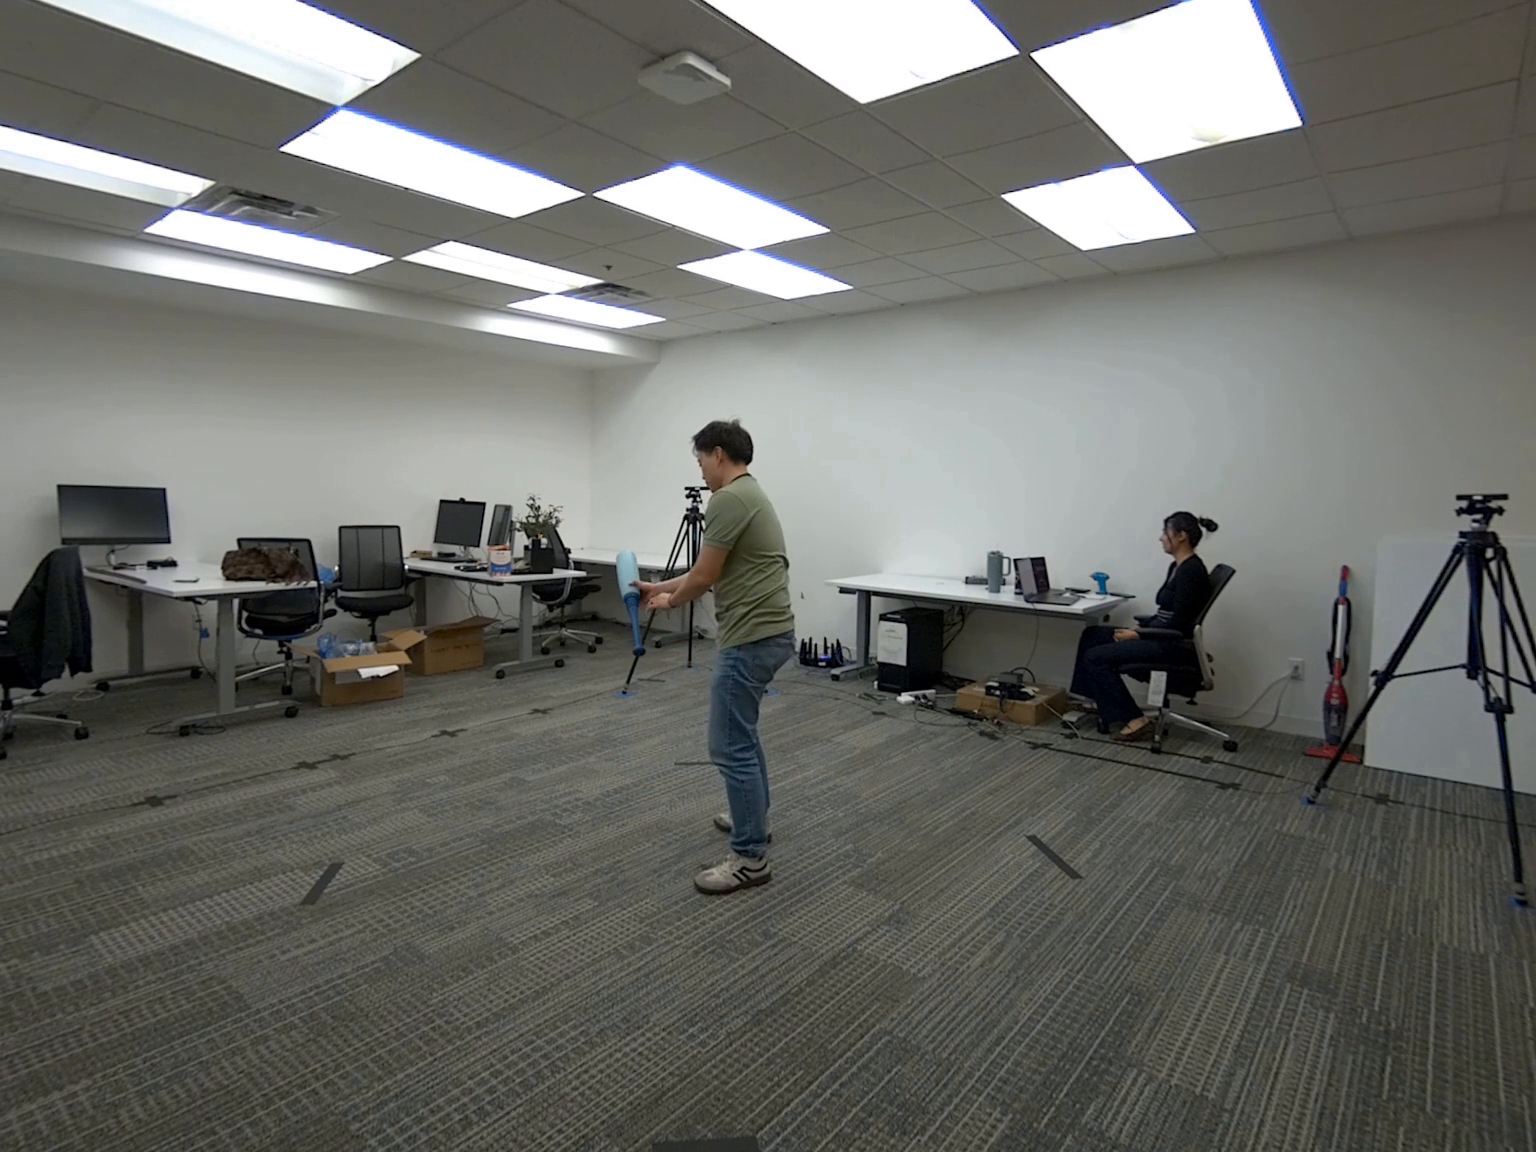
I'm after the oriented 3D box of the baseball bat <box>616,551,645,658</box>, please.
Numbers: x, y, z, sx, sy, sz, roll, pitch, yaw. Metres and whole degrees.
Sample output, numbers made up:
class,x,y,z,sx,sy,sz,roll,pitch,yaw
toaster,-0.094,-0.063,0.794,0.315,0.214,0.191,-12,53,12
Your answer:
class,x,y,z,sx,sy,sz,roll,pitch,yaw
baseball bat,-0.547,0.109,3.415,0.087,0.087,0.563,-1,43,-17
